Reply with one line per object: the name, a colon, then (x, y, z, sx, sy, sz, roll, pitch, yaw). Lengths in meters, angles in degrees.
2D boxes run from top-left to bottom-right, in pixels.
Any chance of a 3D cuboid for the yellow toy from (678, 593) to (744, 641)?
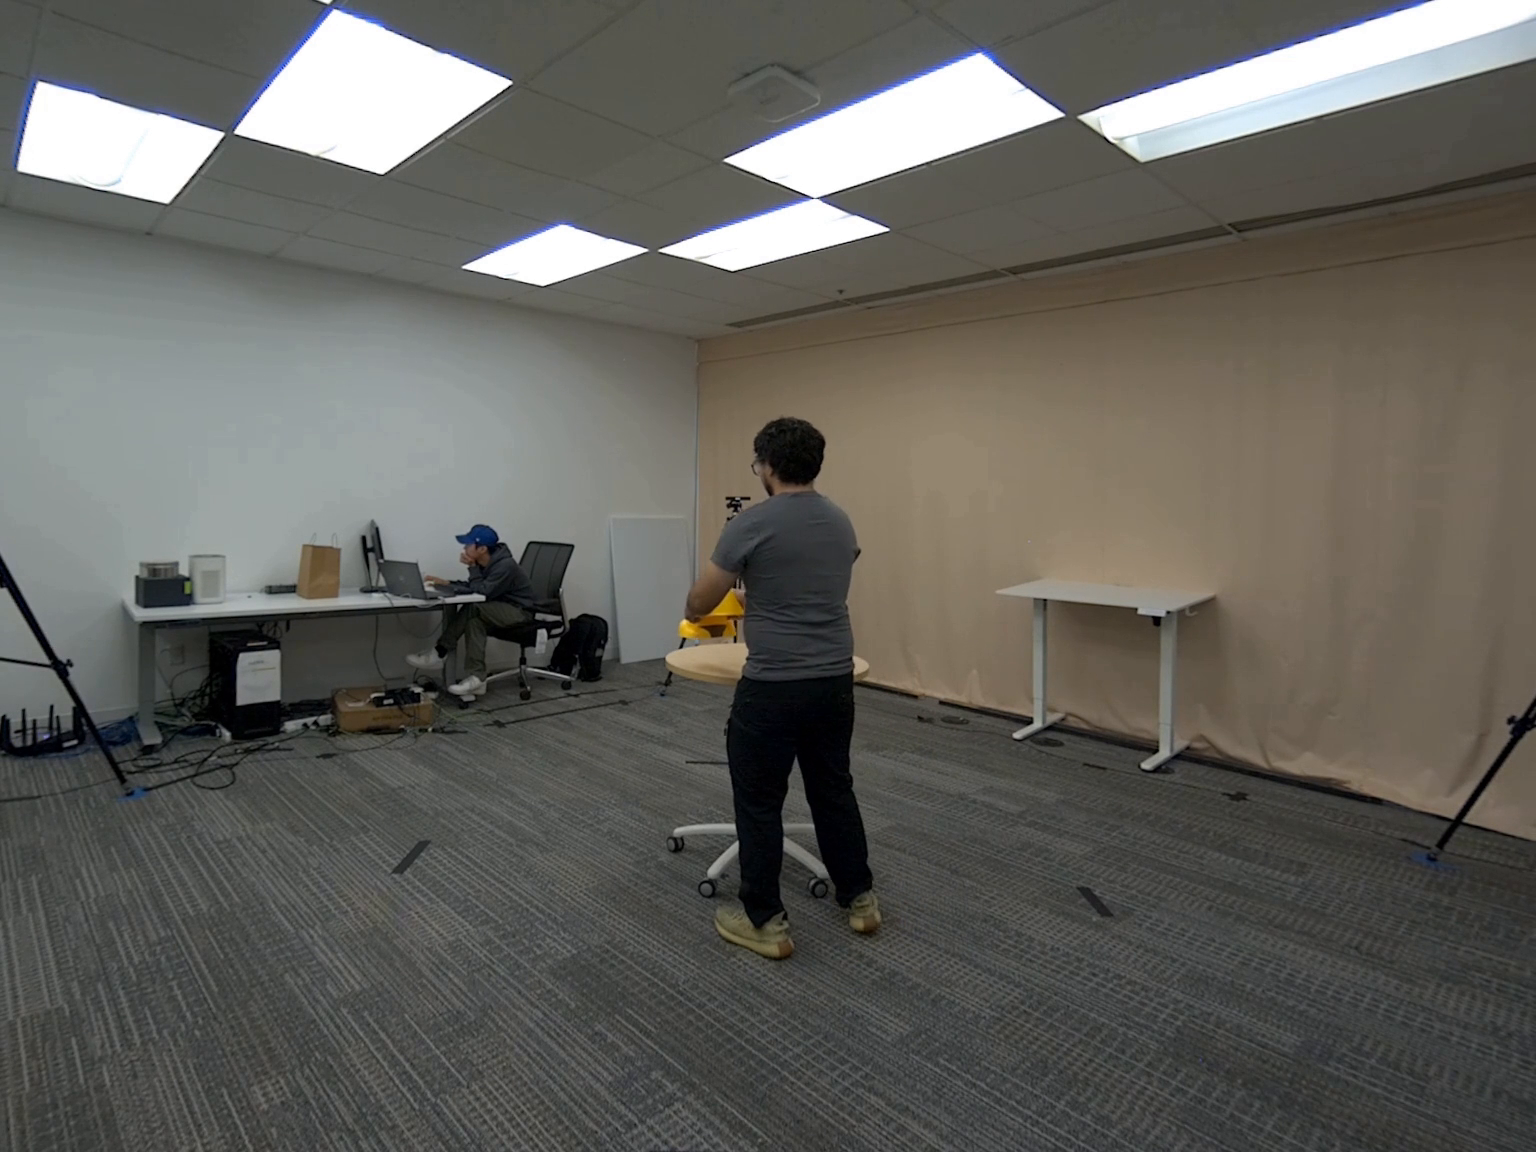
yellow toy: (-0.216, 0.095, 2.976, 0.201, 0.230, 0.197, -1, 3, -30)
